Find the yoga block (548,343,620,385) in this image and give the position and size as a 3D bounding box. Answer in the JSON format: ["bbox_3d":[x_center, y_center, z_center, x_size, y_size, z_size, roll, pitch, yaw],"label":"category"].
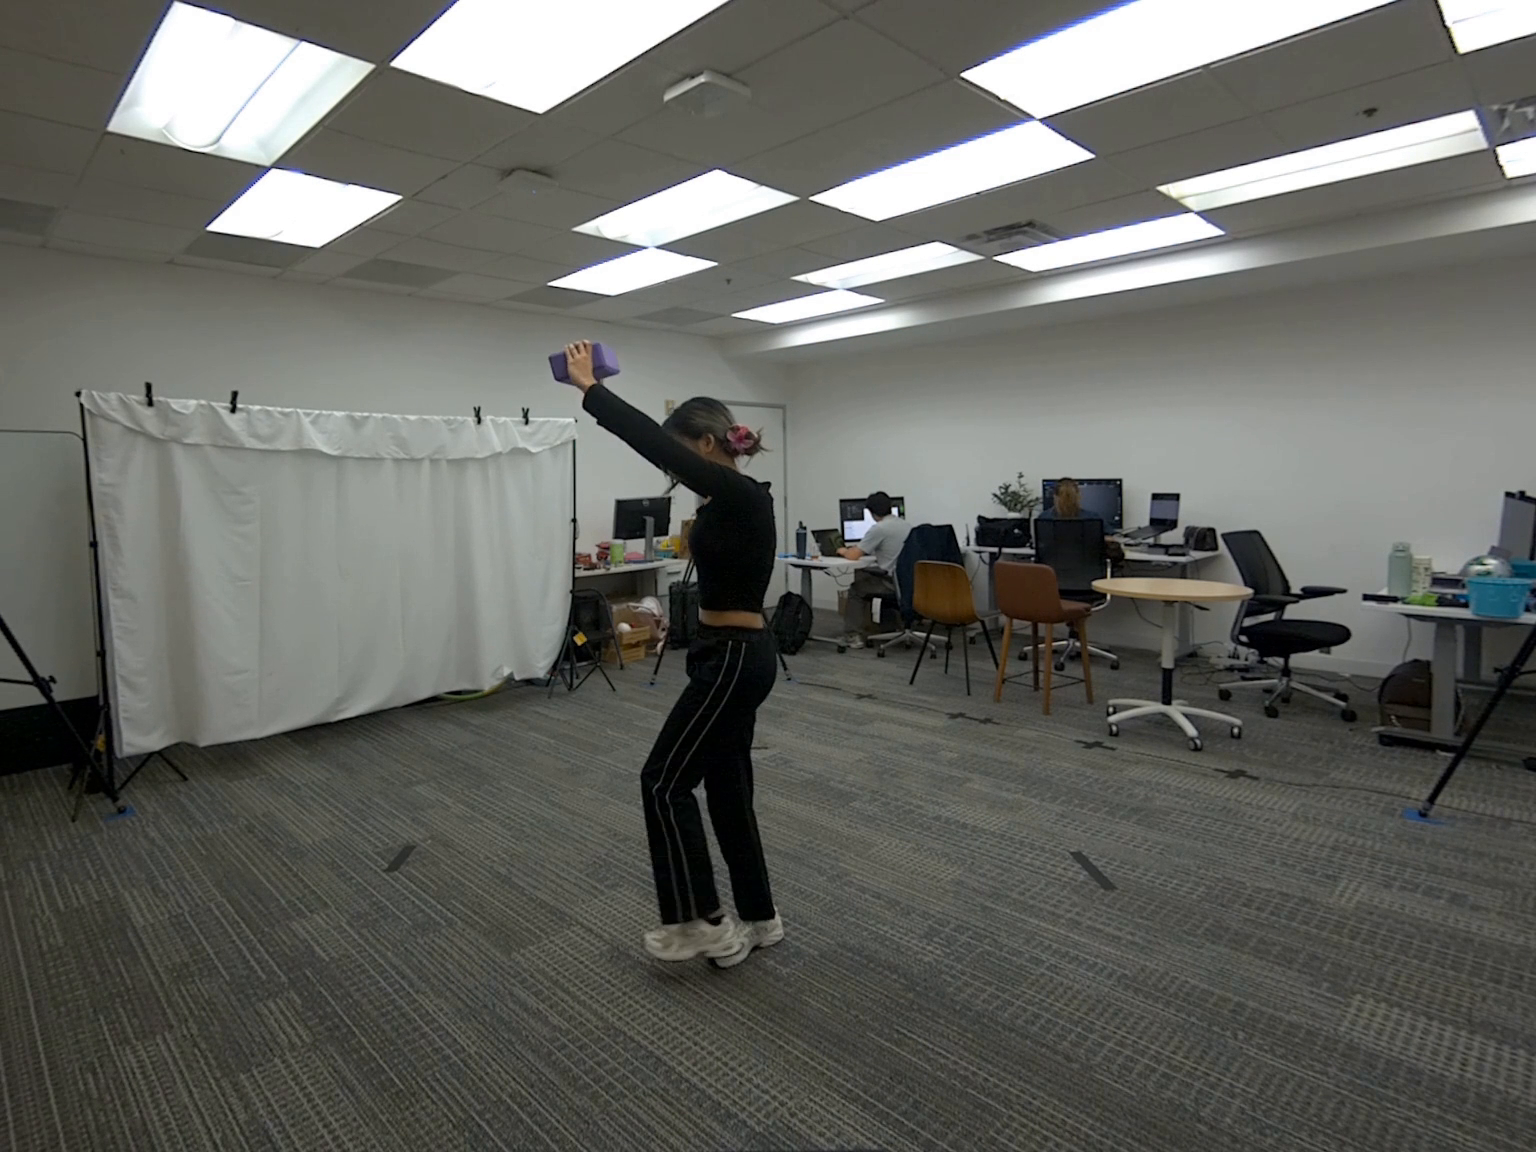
[{"bbox_3d":[-0.508,-0.589,2.387,0.149,0.076,0.230,-13,8,2],"label":"yoga block"}]
